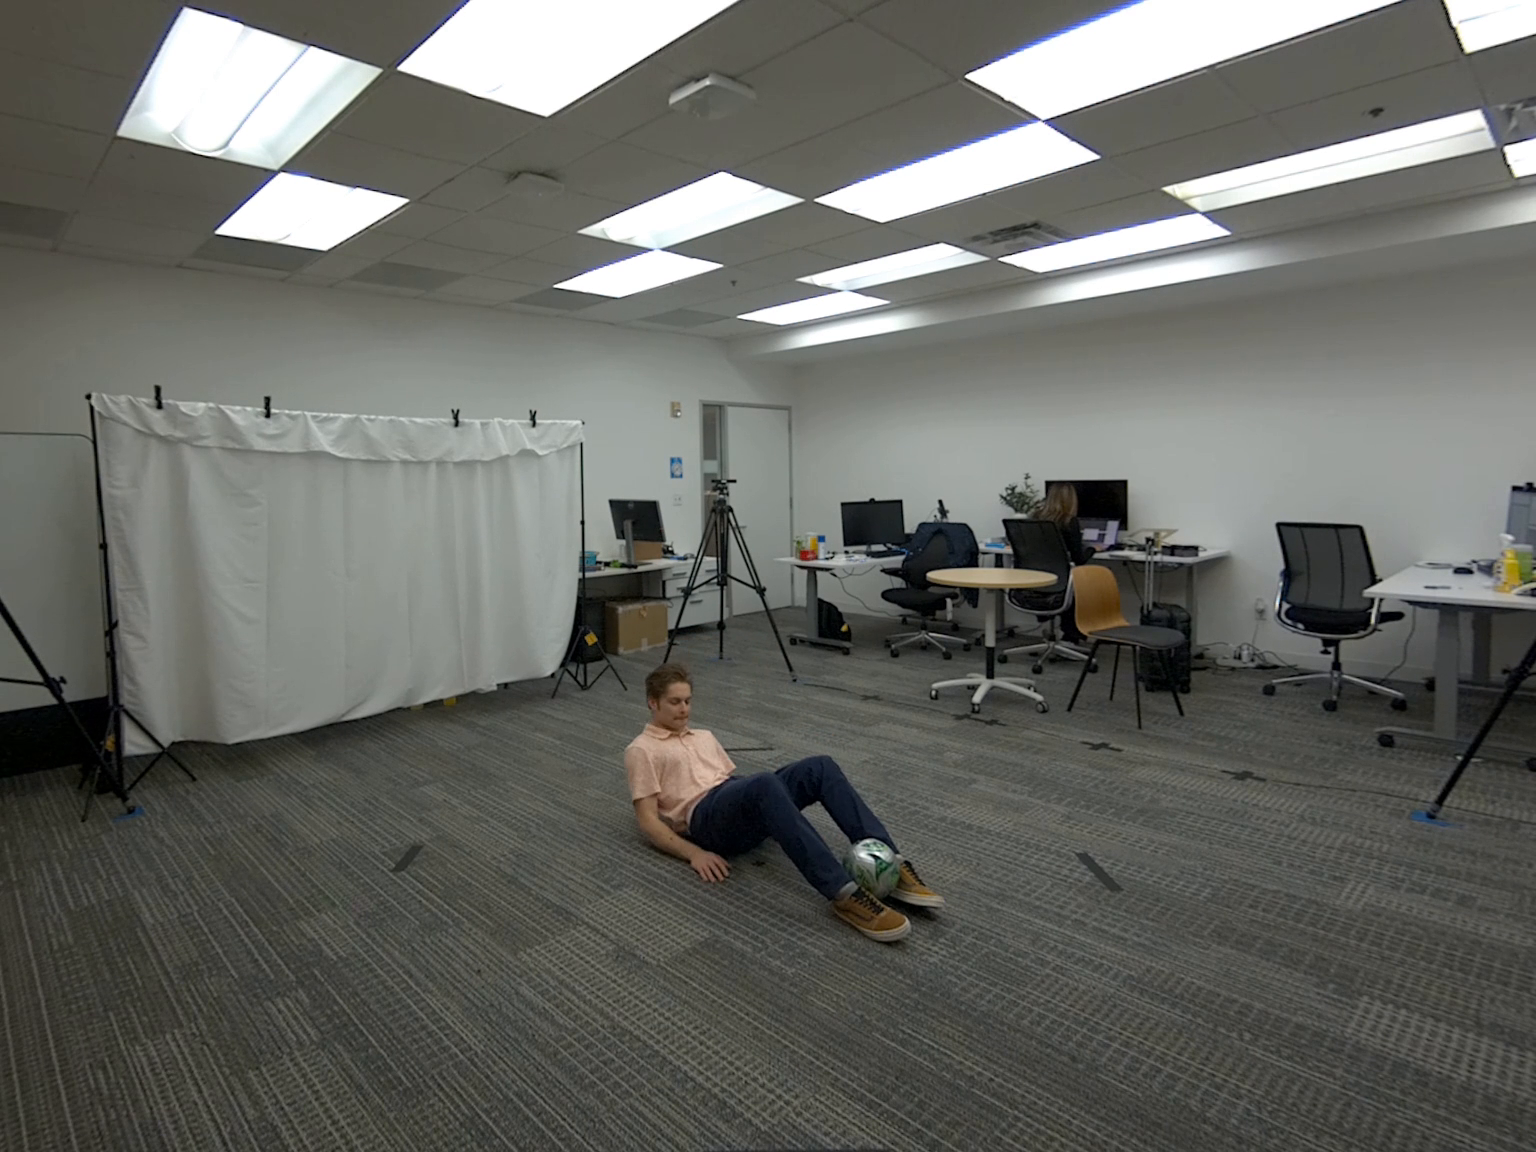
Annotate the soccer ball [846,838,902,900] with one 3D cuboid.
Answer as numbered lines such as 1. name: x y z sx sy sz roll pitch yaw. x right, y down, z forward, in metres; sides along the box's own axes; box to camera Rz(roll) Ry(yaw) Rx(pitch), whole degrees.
1. soccer ball: 0.318 0.952 2.770 0.187 0.187 0.188 -1 5 -2
